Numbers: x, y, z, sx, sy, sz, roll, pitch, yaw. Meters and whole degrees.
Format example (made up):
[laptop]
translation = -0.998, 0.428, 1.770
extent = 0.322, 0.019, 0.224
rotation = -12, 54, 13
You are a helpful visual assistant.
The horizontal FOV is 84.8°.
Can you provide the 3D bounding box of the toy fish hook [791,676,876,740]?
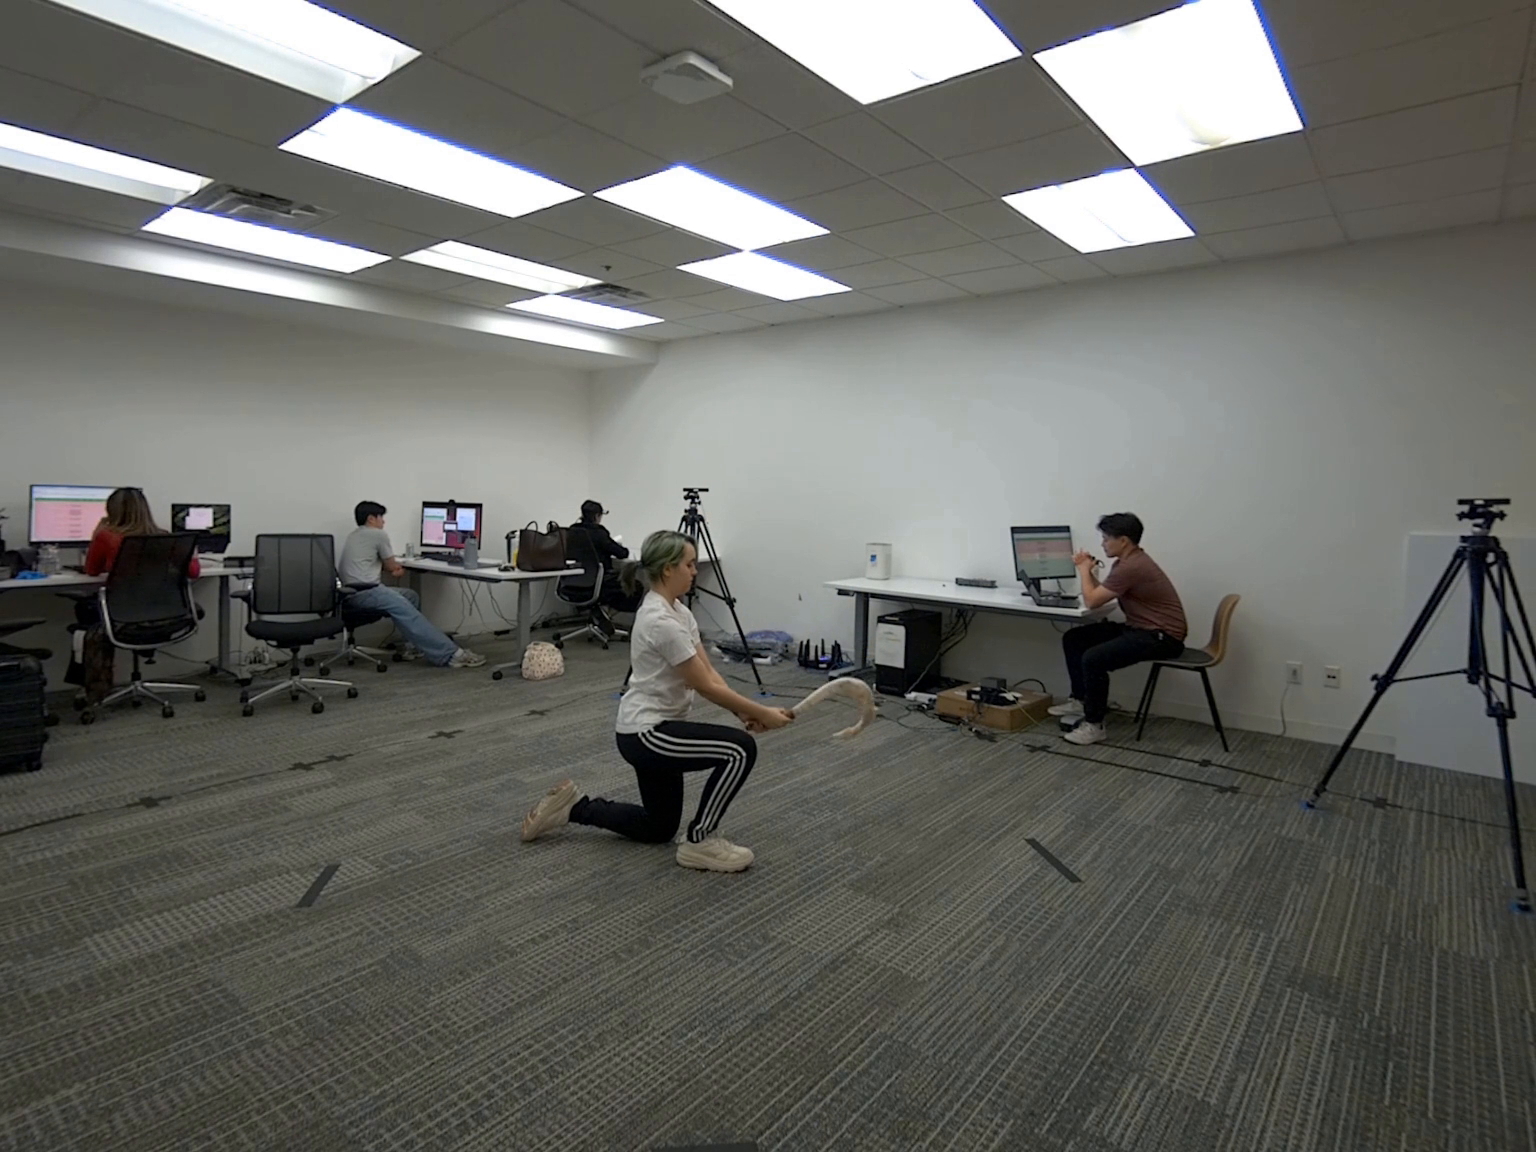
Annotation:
[toy fish hook]
translation = 0.155, 0.541, 3.272
extent = 0.510, 0.226, 0.048
rotation = -20, -5, 9
